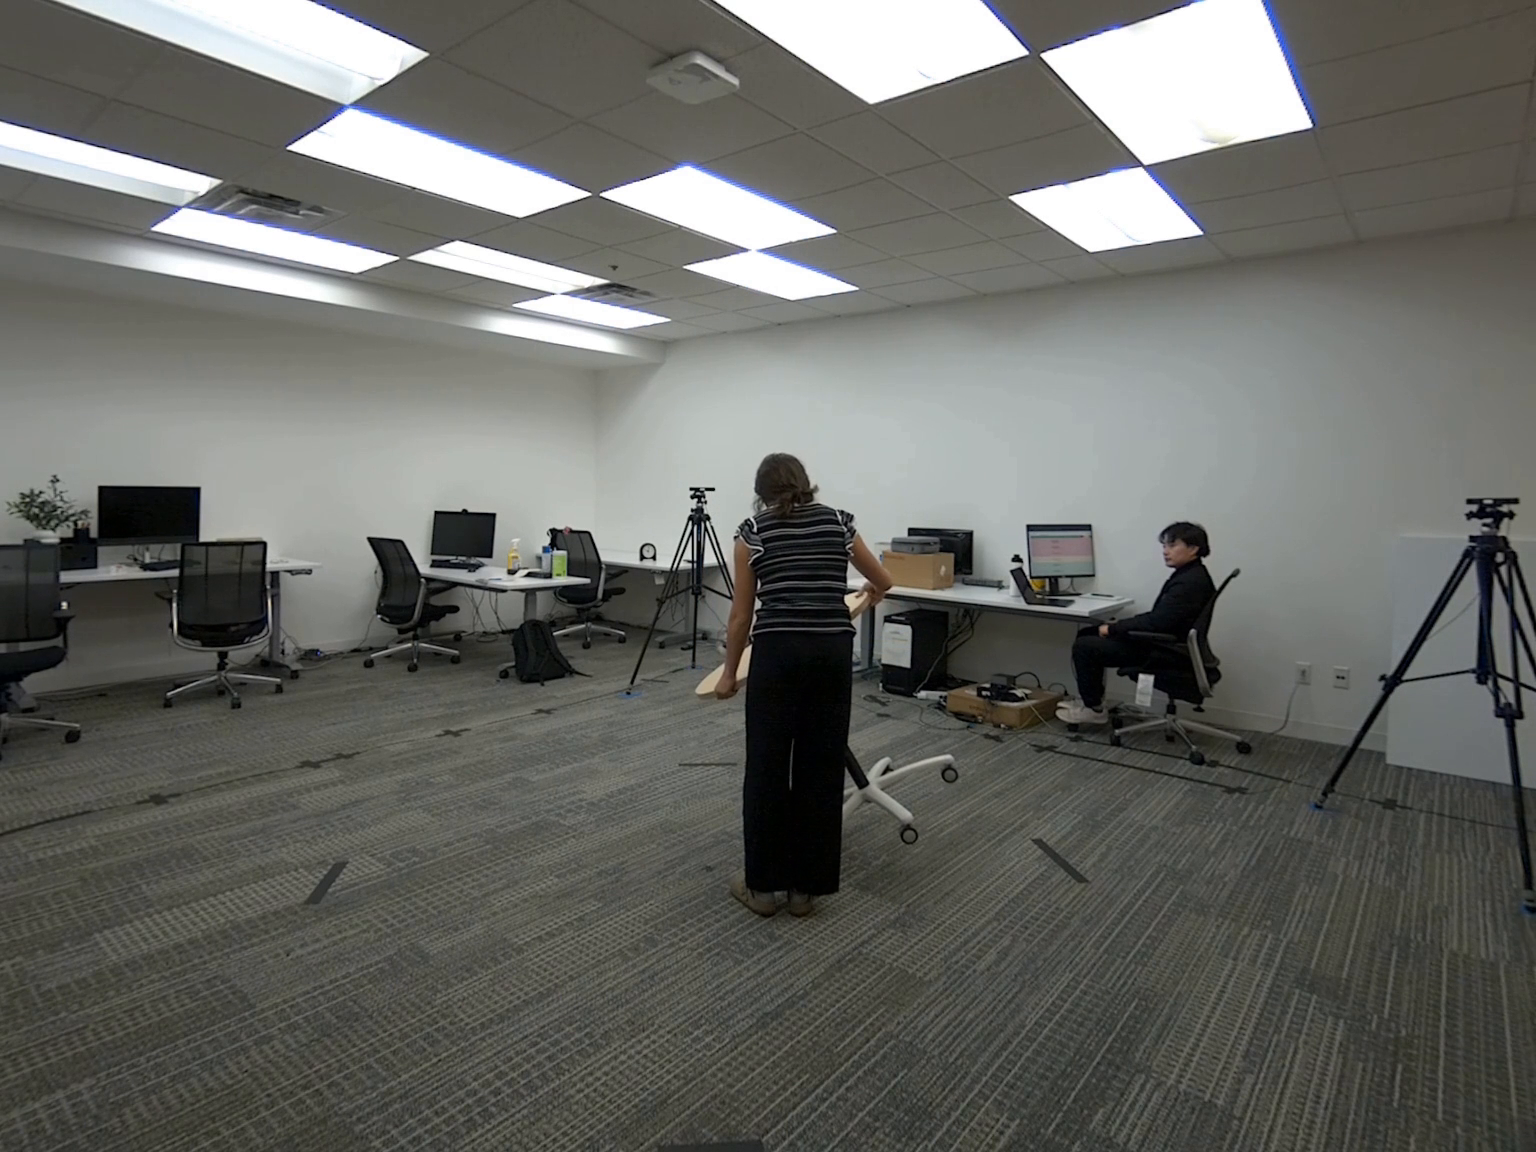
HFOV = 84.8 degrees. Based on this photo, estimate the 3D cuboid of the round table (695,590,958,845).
[{"bbox_3d":[0.245,0.590,3.297,0.763,0.793,0.765,-30,2,-1],"label":"round table"}]
